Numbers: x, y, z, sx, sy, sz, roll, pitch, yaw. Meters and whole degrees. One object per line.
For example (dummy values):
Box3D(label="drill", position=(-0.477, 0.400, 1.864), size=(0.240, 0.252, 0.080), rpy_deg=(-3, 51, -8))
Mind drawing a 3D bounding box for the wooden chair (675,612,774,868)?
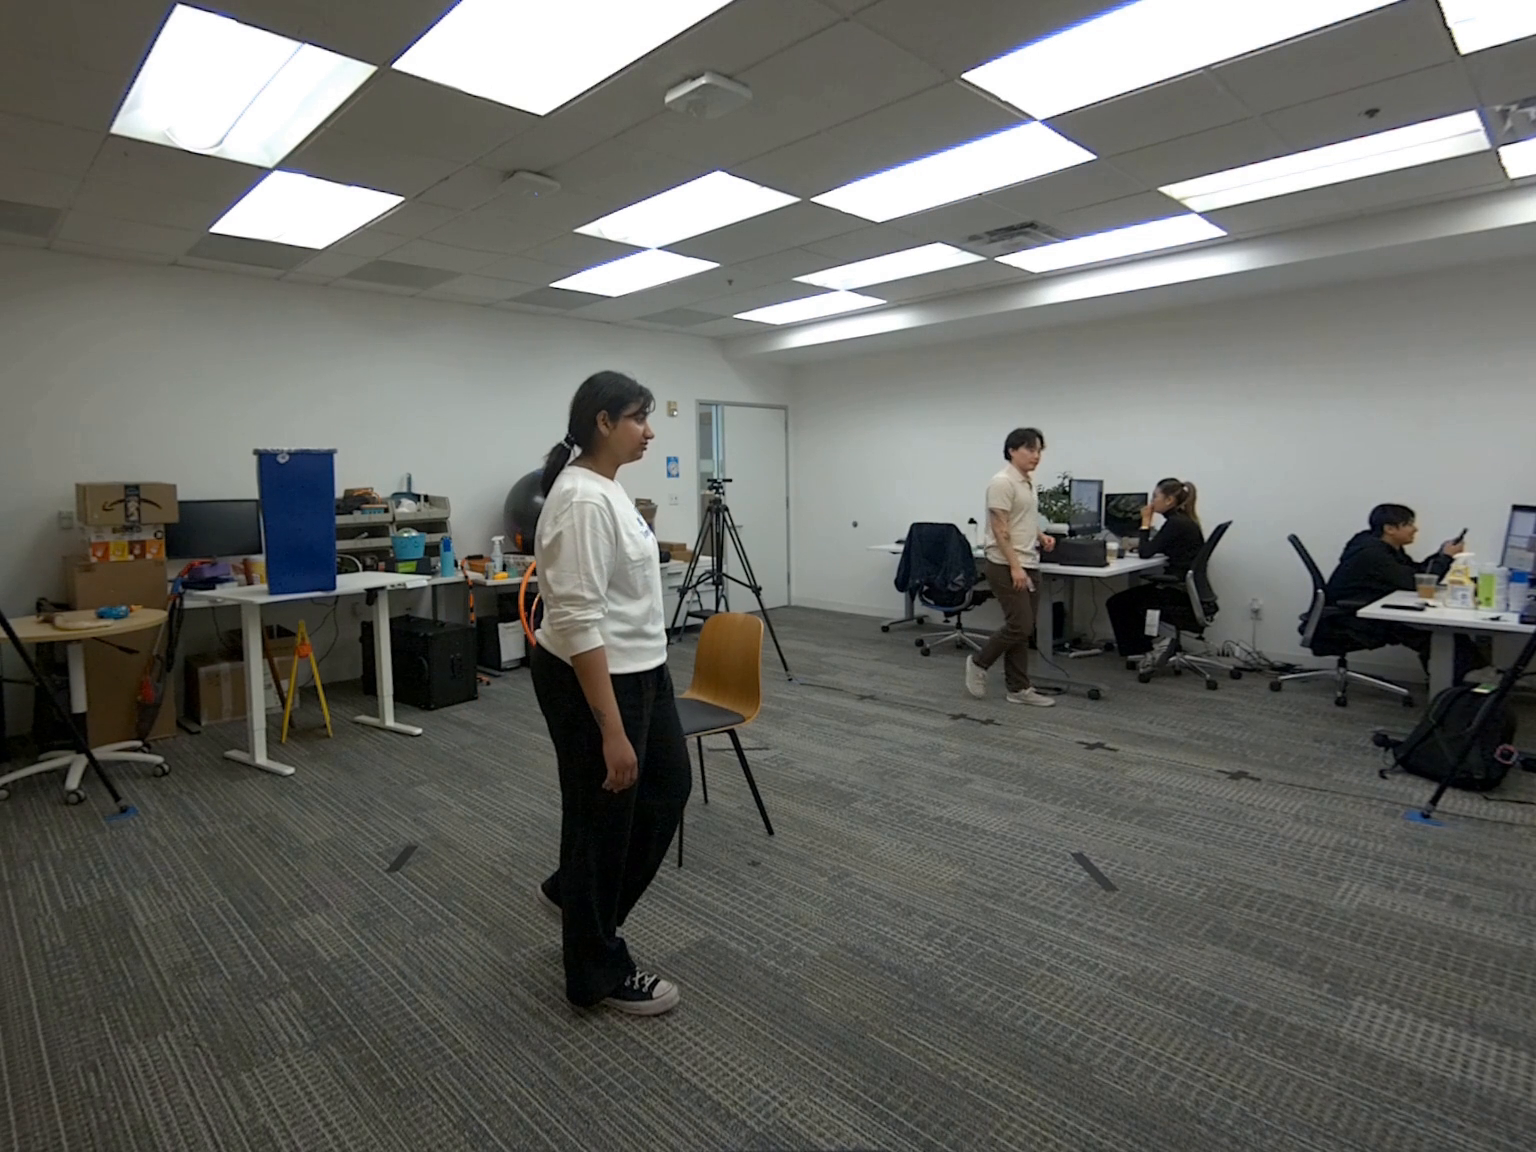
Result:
Box3D(label="wooden chair", position=(-0.303, 0.592, 3.357), size=(0.508, 0.876, 0.492), rpy_deg=(1, 2, -39))
